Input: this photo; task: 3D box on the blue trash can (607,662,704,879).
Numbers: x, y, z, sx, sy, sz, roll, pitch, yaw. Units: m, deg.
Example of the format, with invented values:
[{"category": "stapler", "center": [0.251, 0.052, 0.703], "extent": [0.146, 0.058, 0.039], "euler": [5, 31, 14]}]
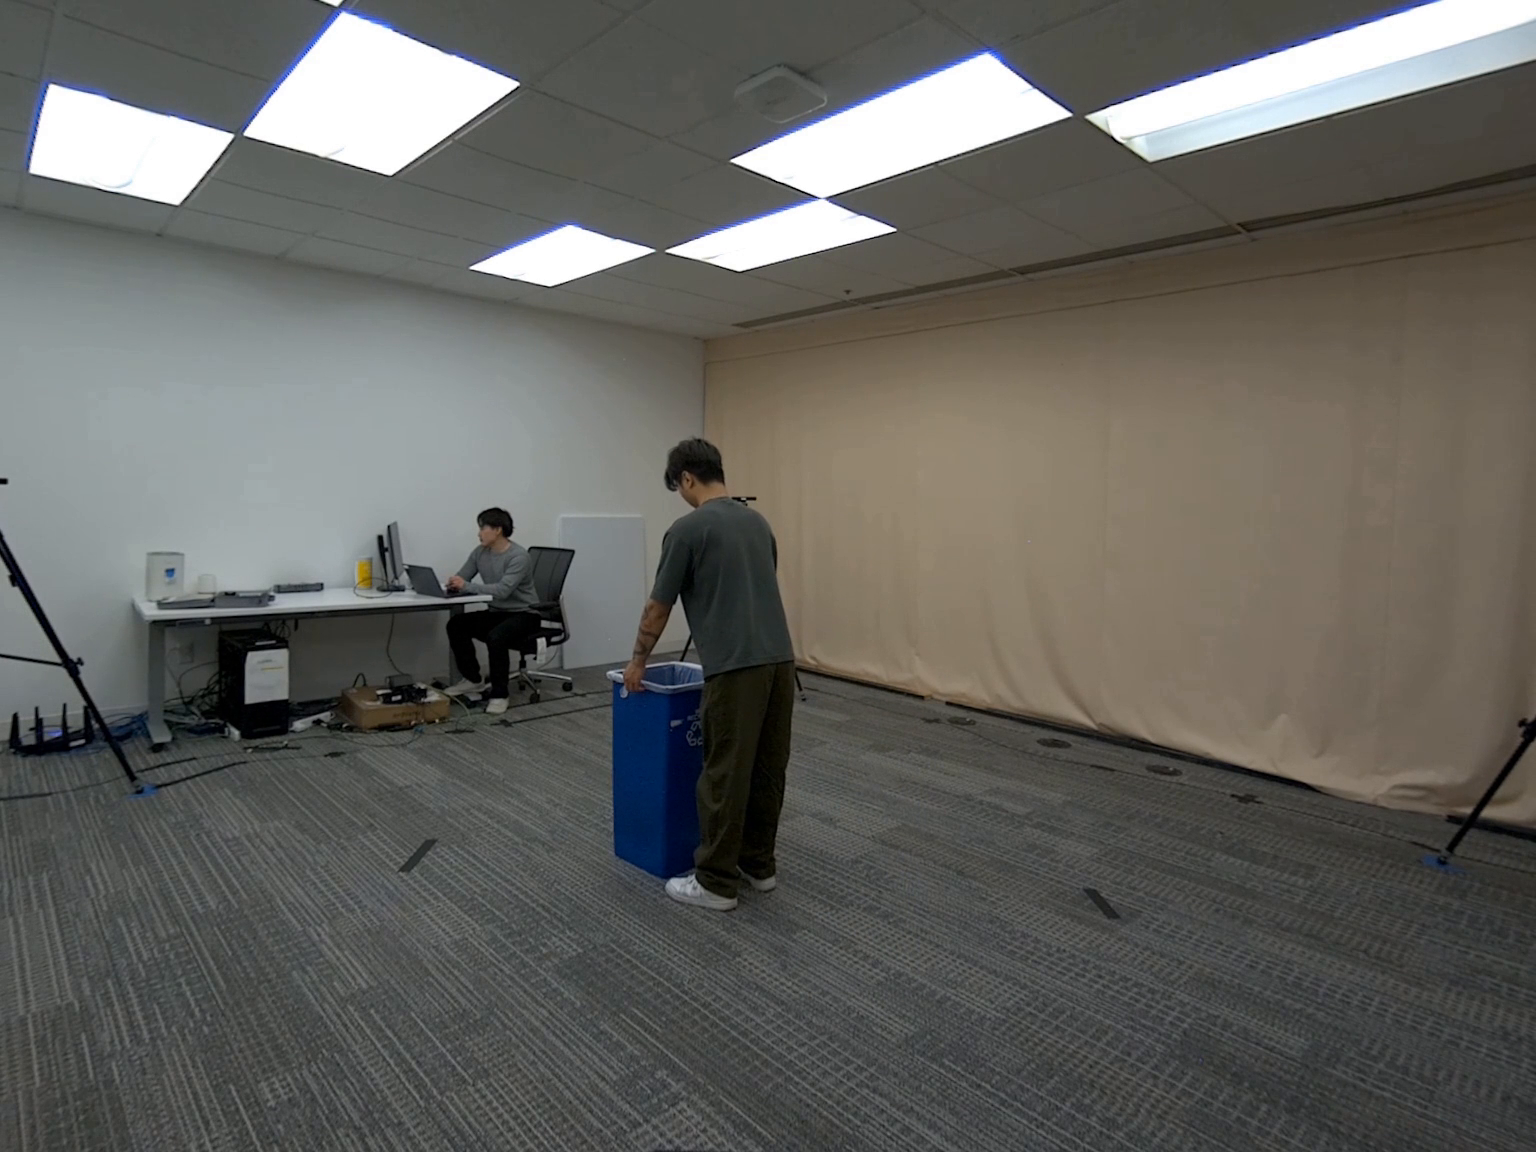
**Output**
[{"category": "blue trash can", "center": [-0.394, 0.731, 3.256], "extent": [0.384, 0.712, 0.369], "euler": [6, 4, 42]}]
